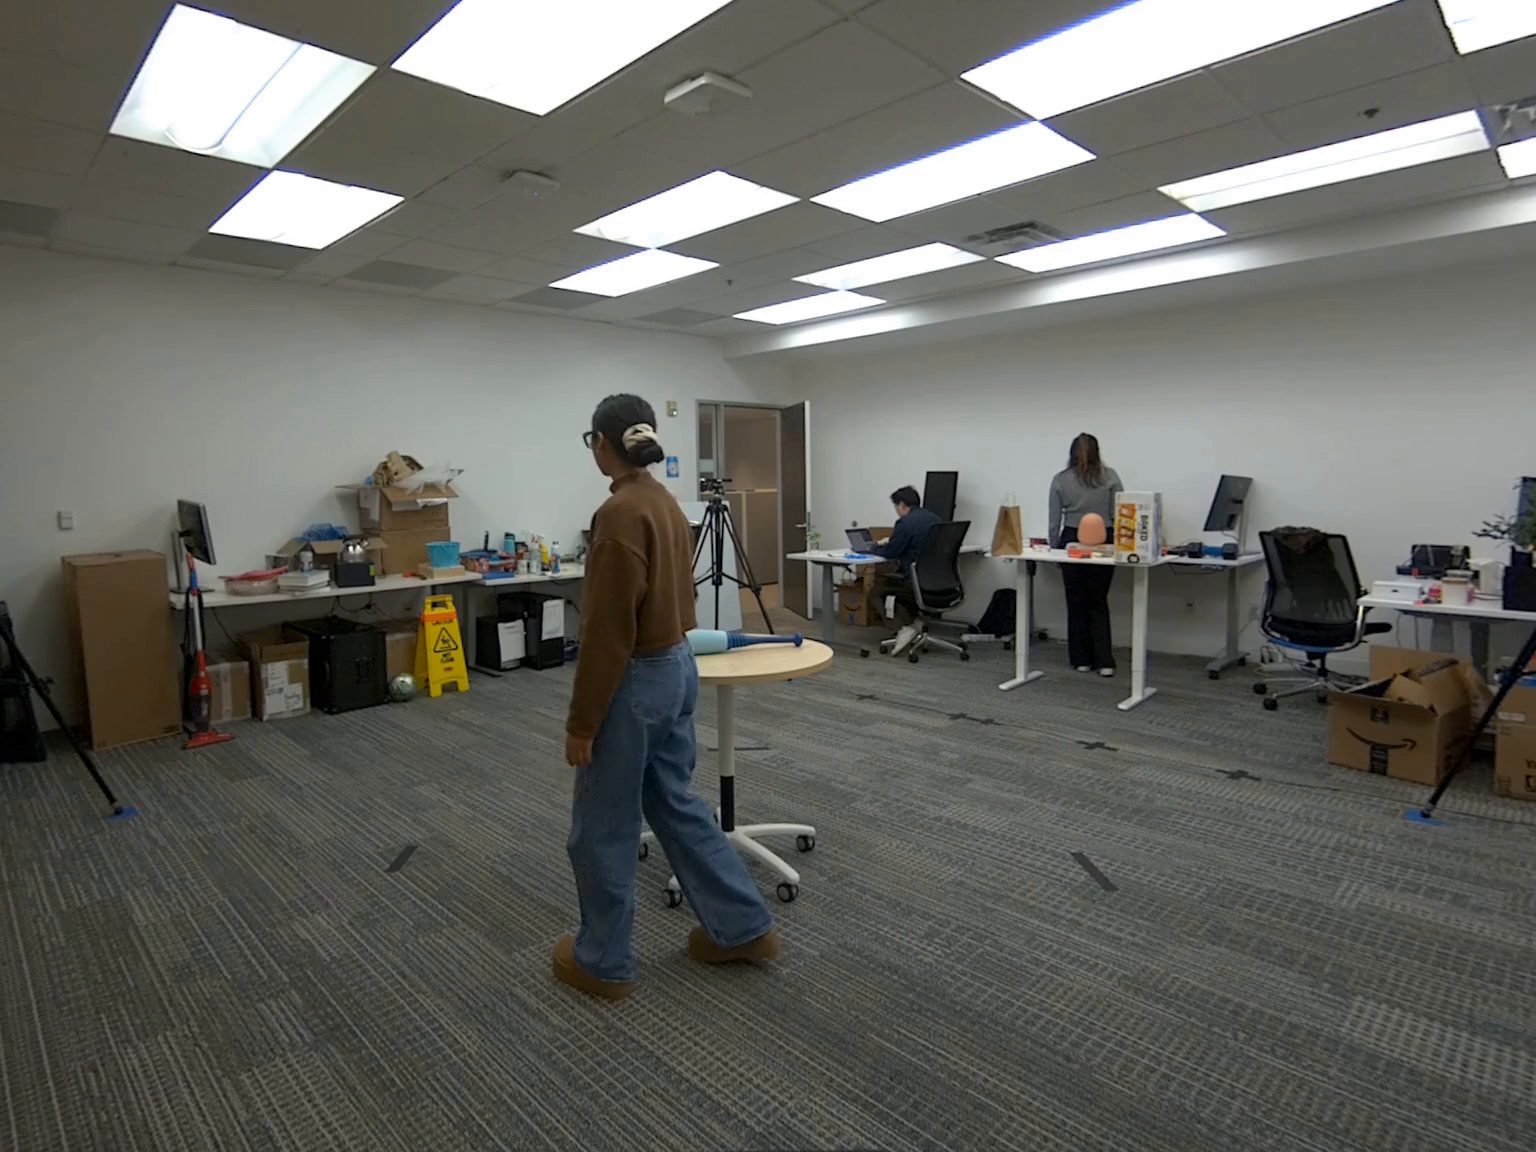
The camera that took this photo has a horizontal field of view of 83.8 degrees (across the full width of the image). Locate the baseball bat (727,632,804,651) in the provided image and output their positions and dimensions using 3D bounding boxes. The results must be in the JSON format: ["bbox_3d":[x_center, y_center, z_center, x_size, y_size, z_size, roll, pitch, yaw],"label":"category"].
[{"bbox_3d":[-0.136,0.234,3.041,0.534,0.089,0.091,0,4,-18],"label":"baseball bat"}]
